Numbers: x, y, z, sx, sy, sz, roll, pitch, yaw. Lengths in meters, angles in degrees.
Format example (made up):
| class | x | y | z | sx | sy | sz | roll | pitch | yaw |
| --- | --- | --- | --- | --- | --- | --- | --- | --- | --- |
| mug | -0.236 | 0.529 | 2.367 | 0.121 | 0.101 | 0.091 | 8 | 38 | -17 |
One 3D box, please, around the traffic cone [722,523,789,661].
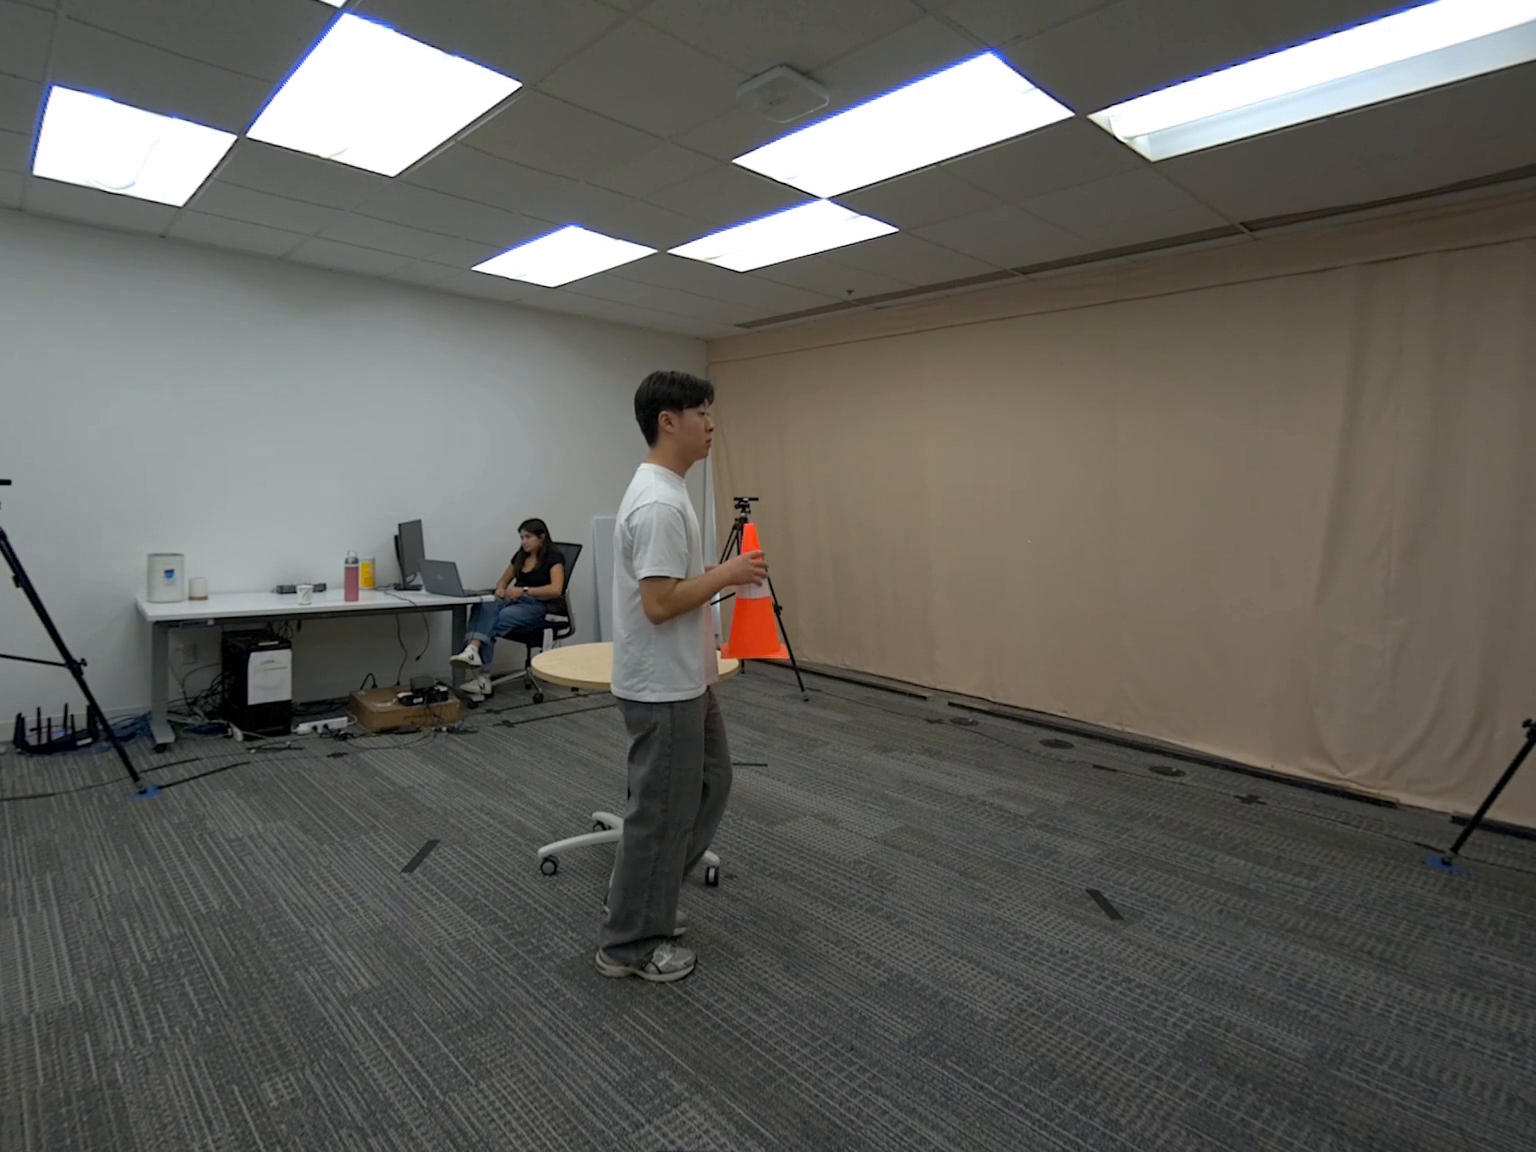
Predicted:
| class | x | y | z | sx | sy | sz | roll | pitch | yaw |
| --- | --- | --- | --- | --- | --- | --- | --- | --- | --- |
| traffic cone | -0.054 | 0.041 | 2.480 | 0.208 | 0.382 | 0.201 | 3 | 5 | 31 |
